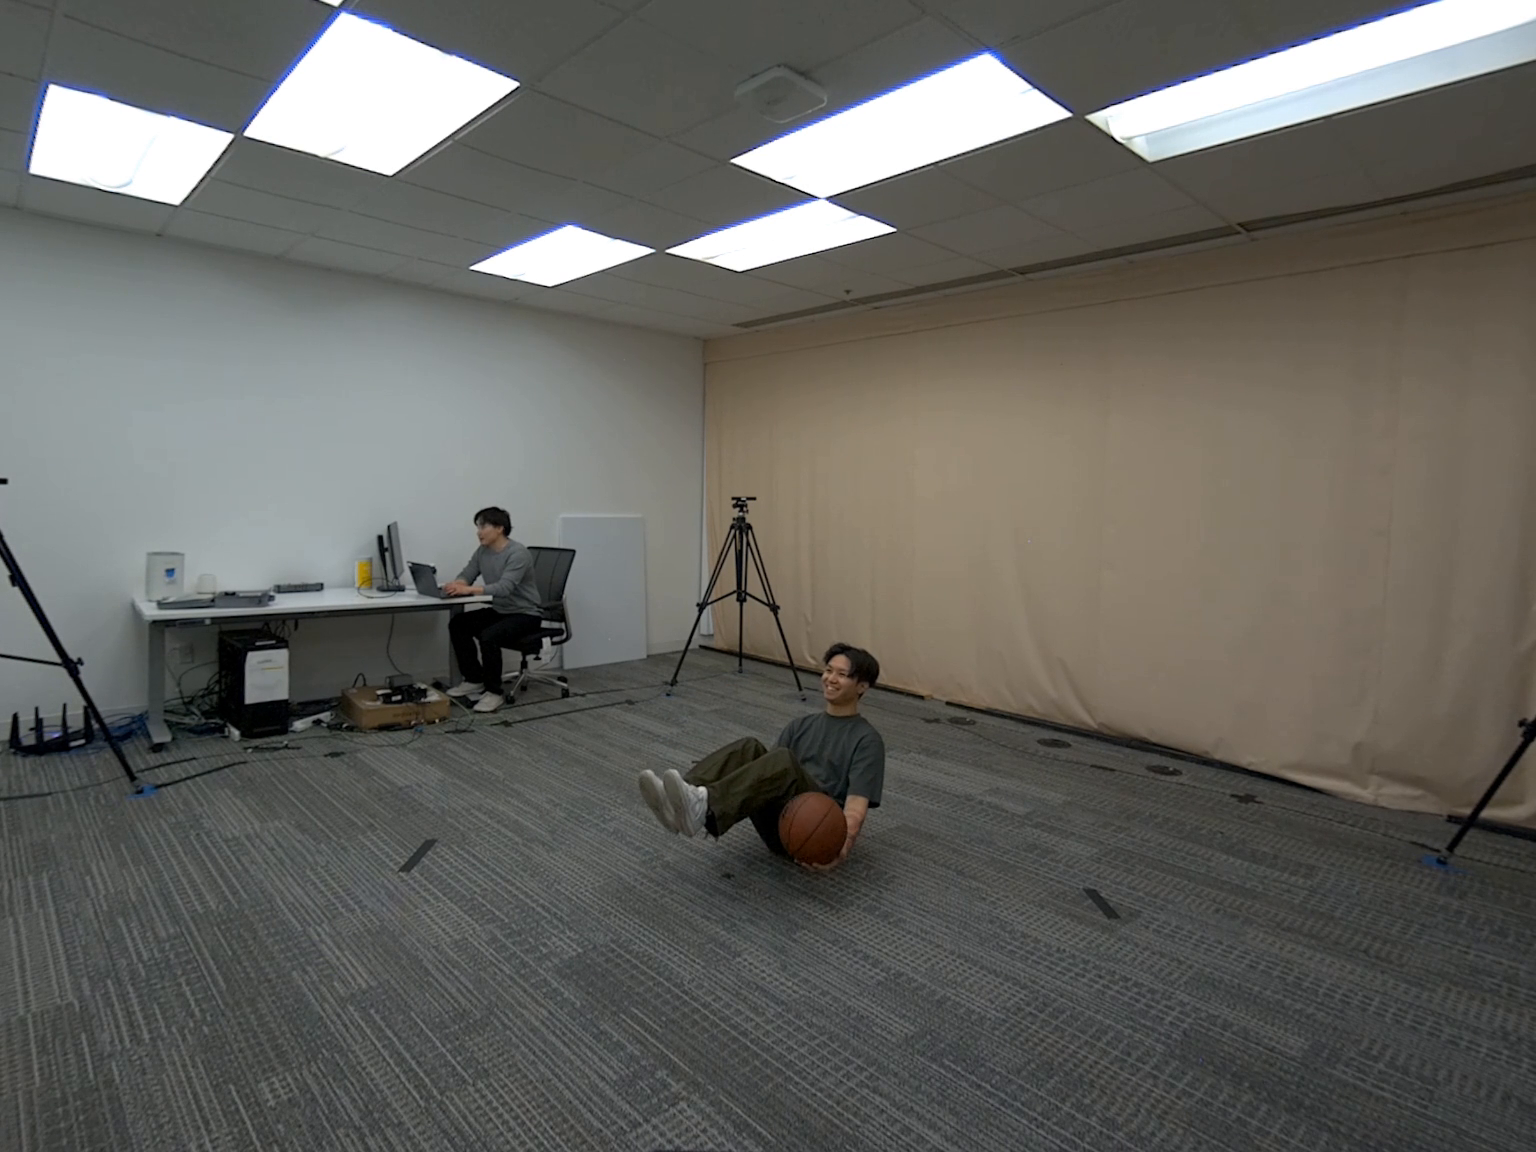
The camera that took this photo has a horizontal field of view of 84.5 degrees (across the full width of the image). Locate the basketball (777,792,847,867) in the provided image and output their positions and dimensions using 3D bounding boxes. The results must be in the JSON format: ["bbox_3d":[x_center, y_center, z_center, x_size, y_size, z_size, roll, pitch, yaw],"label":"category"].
[{"bbox_3d":[0.139,0.862,2.911,0.236,0.235,0.237,1,4,-1],"label":"basketball"}]
